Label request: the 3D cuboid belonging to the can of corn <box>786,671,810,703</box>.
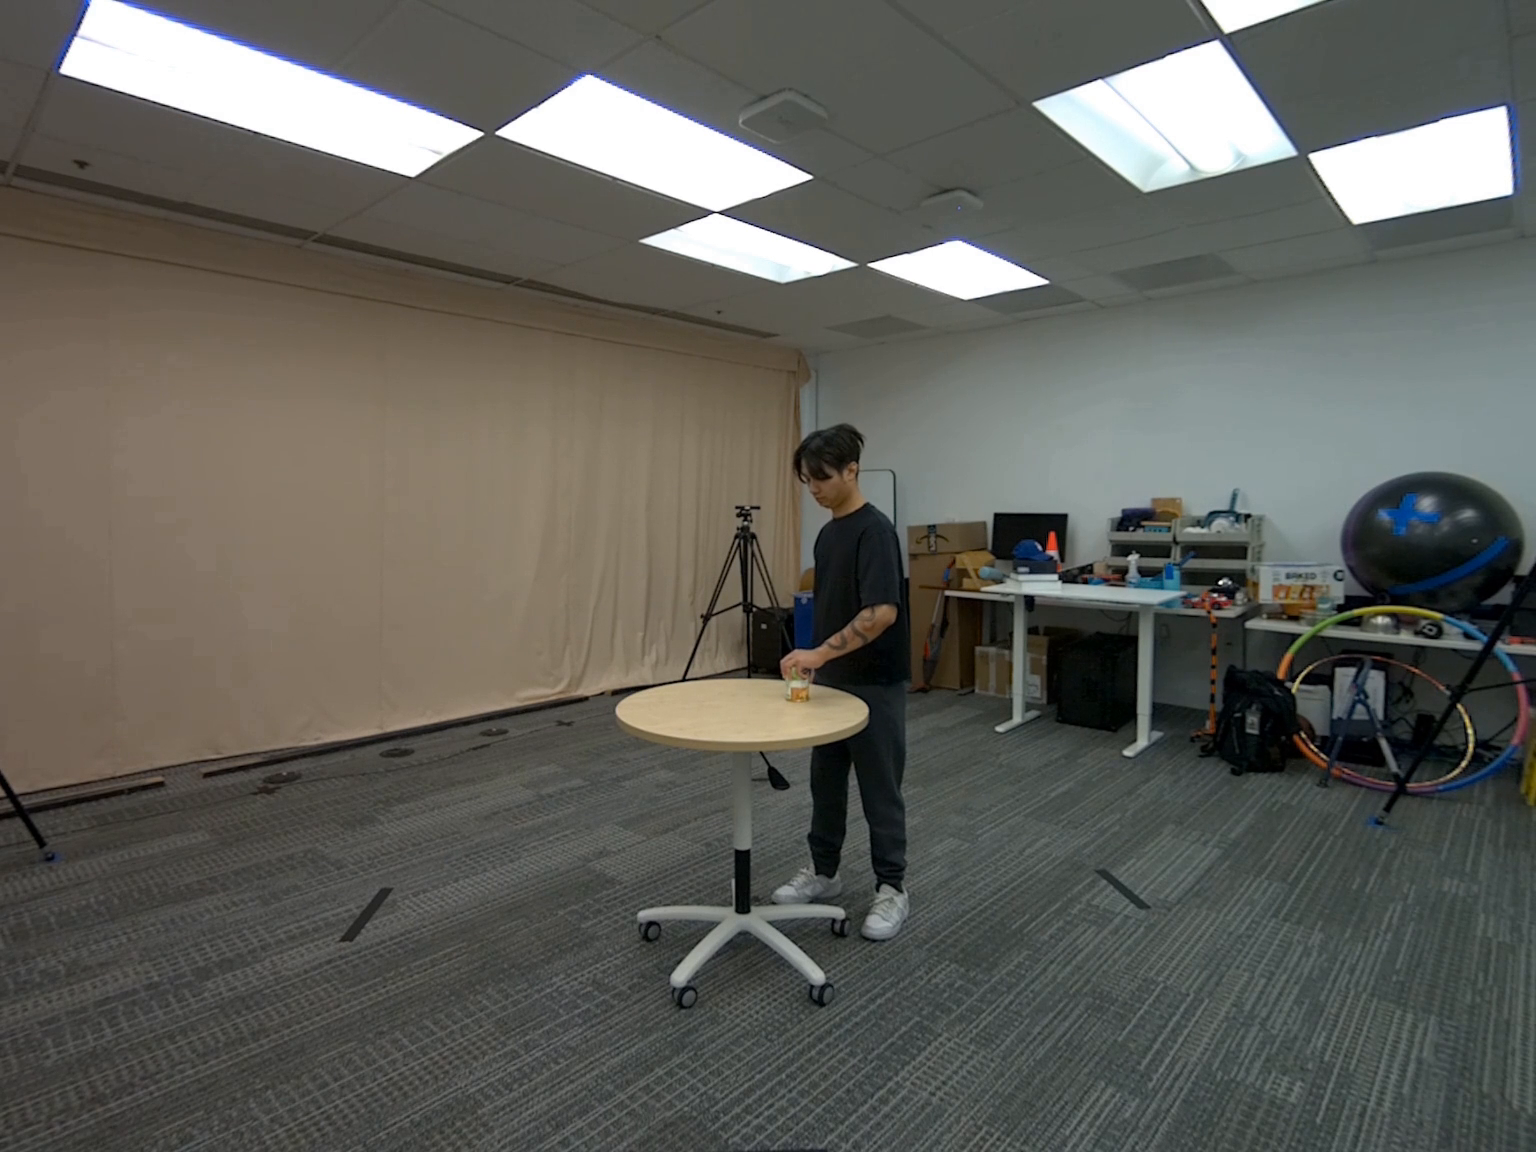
[{"bbox_3d":[0.094,0.337,2.634,0.074,0.111,0.074,4,4,-2],"label":"can of corn"}]
